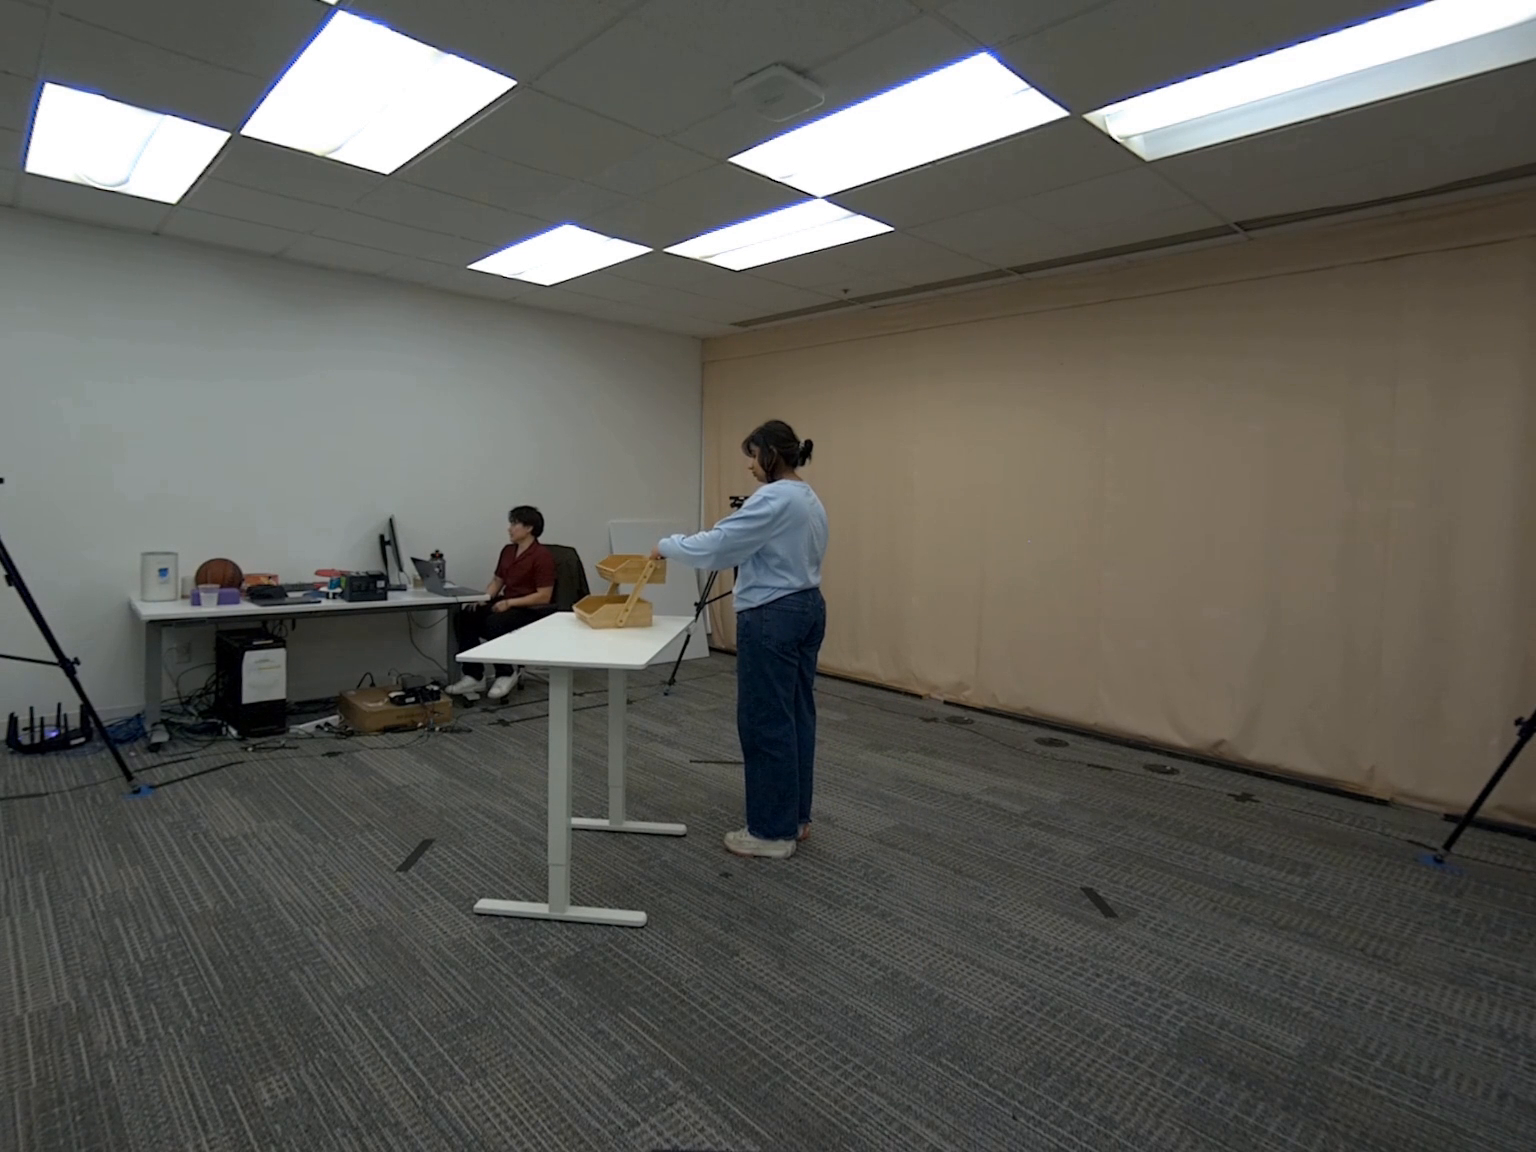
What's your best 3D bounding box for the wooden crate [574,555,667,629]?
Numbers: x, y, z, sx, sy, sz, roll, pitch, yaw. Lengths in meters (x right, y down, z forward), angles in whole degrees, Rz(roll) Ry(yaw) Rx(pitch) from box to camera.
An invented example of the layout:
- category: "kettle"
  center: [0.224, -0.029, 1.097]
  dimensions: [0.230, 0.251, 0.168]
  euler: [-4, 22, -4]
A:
- category: "wooden crate"
  center: [-0.602, 0.052, 3.368]
  dimensions: [0.297, 0.272, 0.331]
  euler: [0, 5, -24]
